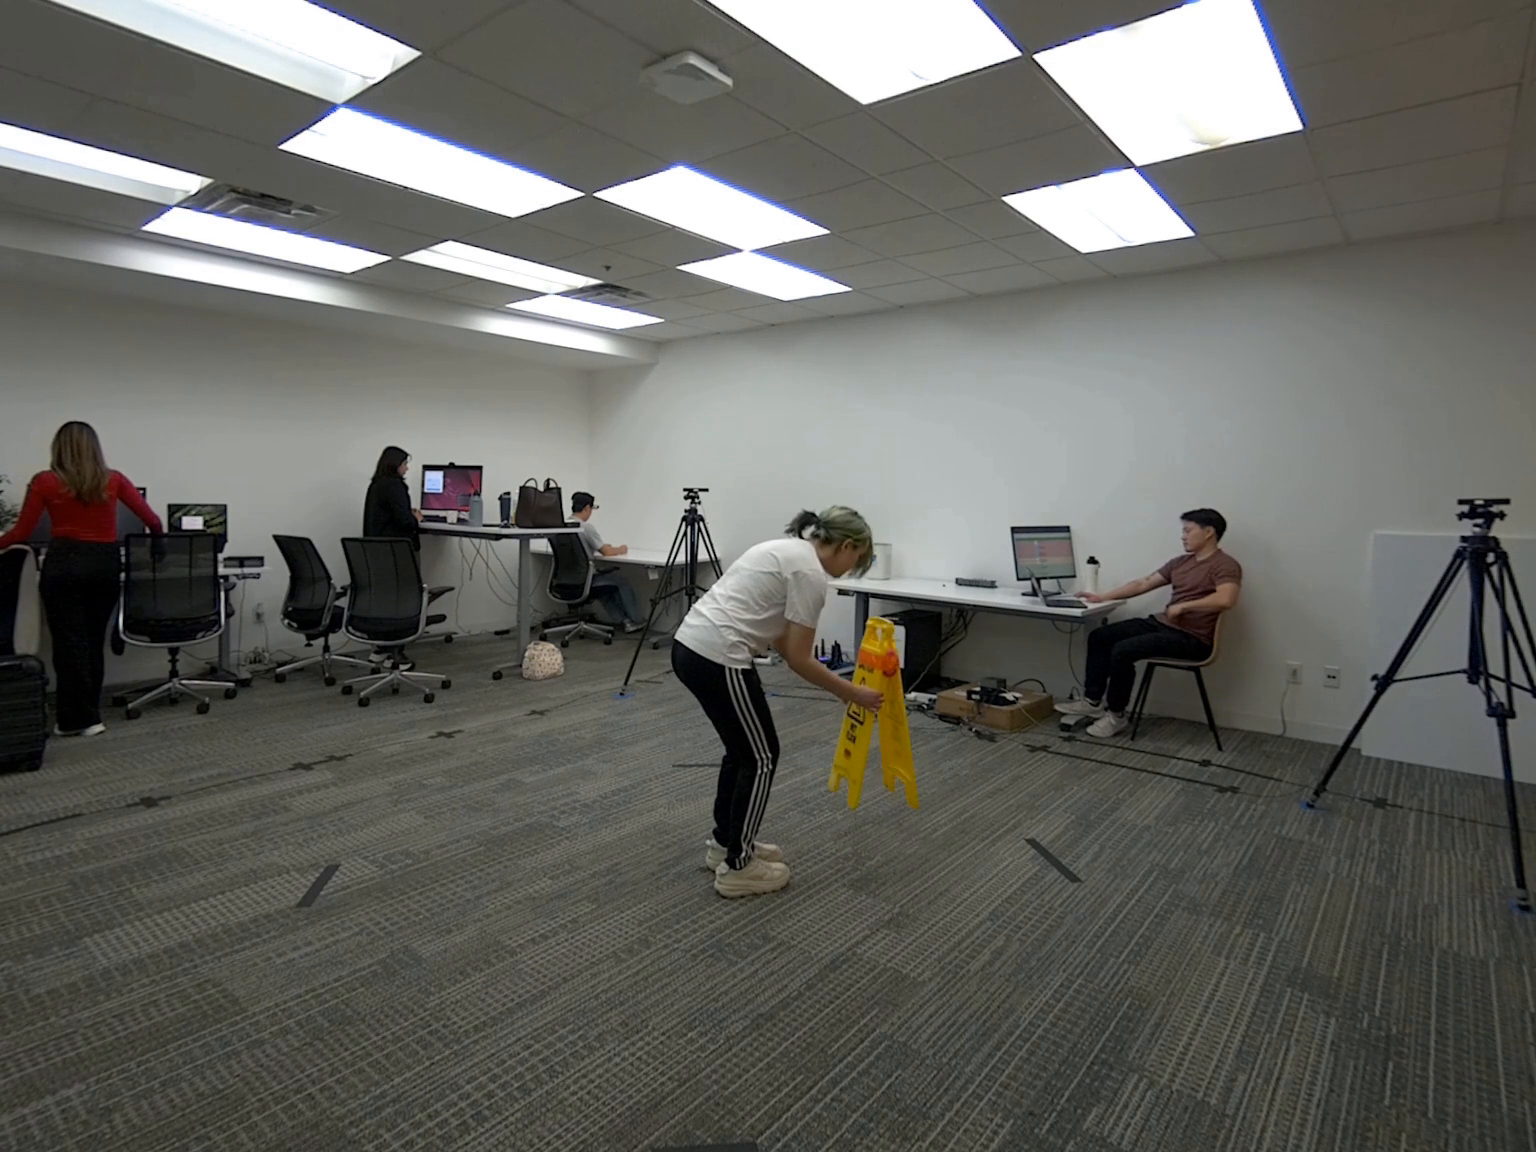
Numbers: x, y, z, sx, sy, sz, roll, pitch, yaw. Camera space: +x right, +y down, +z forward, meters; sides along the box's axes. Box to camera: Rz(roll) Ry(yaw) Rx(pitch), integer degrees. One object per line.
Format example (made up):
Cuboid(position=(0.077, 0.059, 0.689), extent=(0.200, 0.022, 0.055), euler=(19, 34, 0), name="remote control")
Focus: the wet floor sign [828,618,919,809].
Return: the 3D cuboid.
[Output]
Cuboid(position=(0.390, 0.485, 3.083), extent=(0.285, 0.647, 0.286), euler=(4, -1, -14), name="wet floor sign")
